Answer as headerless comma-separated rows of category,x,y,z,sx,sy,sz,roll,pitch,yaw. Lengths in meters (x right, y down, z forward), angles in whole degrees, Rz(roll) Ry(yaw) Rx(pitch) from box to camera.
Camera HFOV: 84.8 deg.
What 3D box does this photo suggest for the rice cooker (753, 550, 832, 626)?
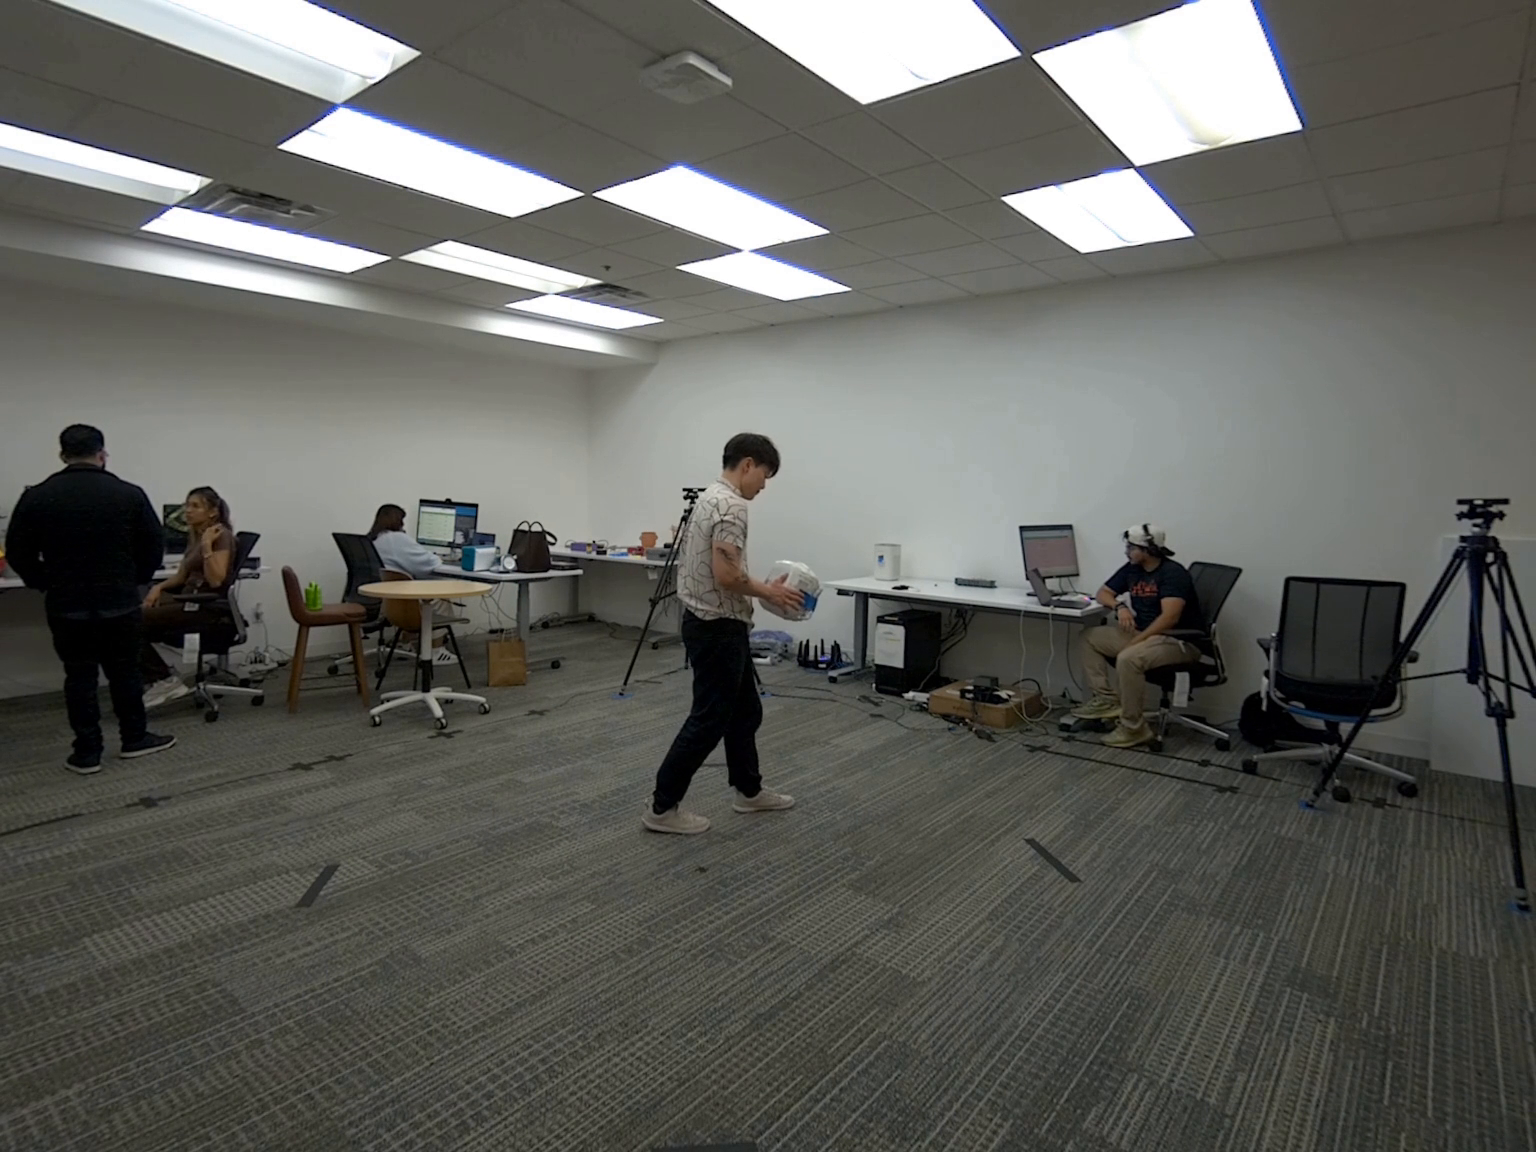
rice cooker,0.081,0.052,3.535,0.212,0.234,0.225,29,-16,-21
